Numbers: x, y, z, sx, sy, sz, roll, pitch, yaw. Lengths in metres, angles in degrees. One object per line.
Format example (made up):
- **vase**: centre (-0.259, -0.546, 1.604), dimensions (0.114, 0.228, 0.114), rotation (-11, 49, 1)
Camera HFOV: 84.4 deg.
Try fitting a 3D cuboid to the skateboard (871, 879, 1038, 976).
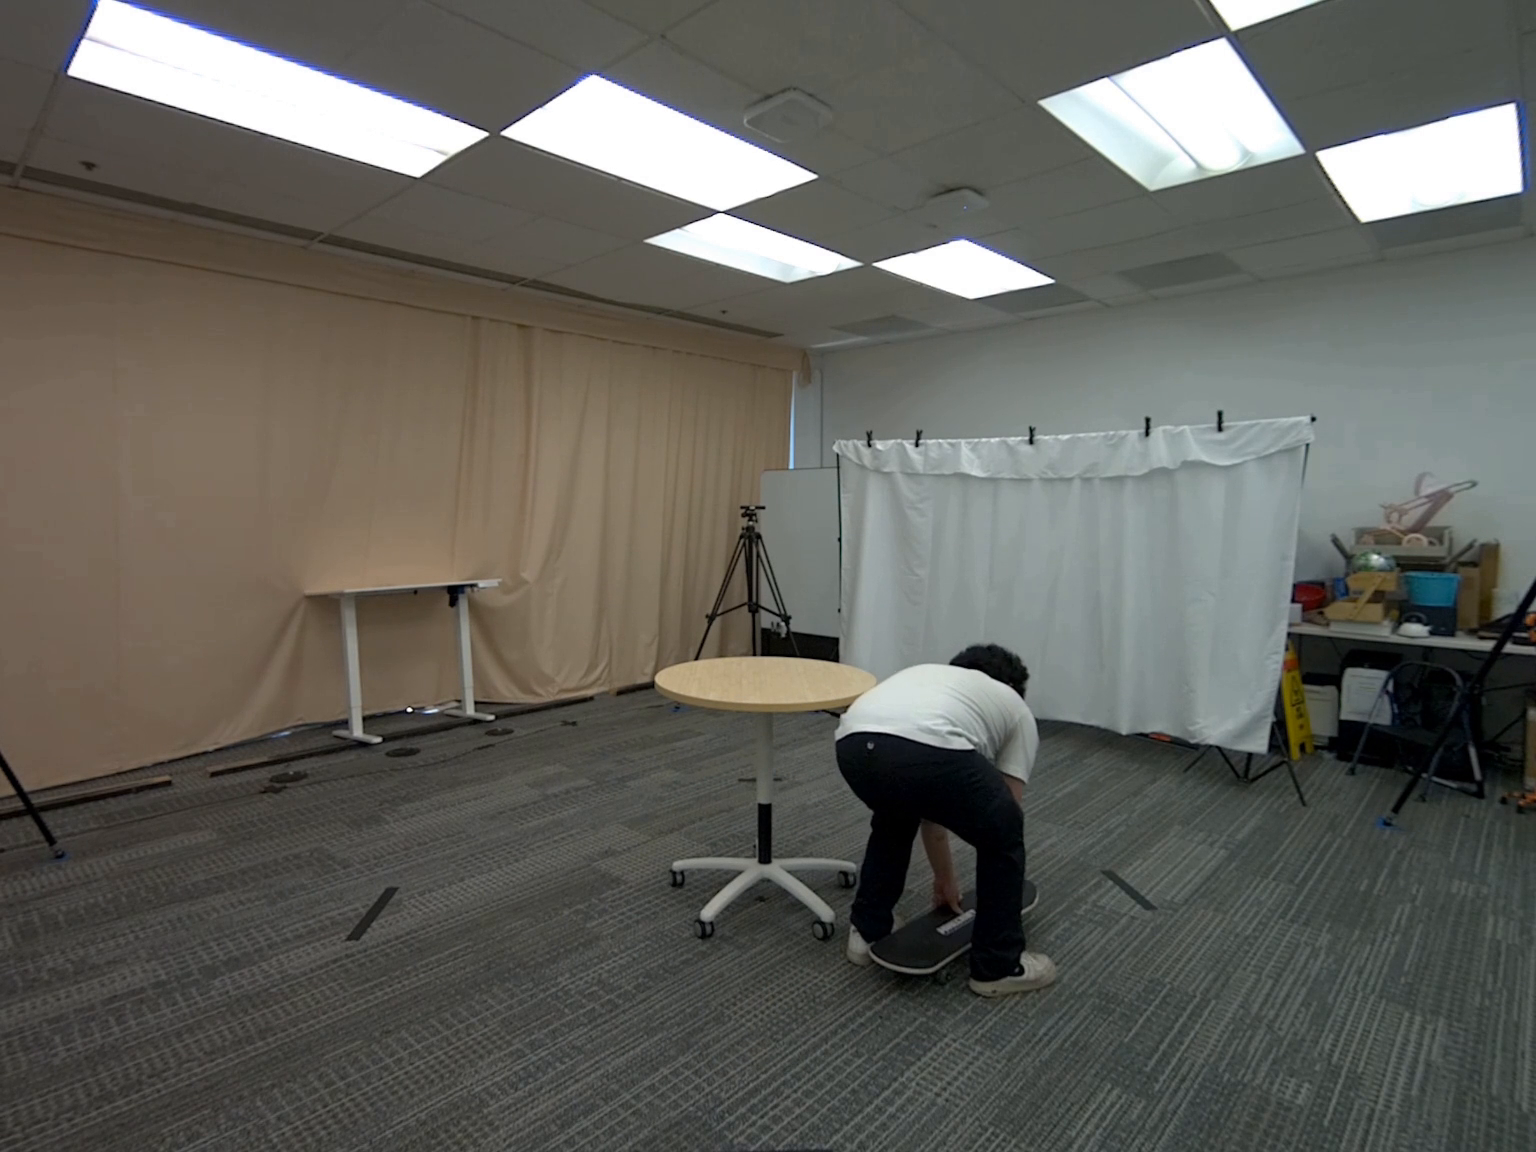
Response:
- **skateboard**: centre (0.608, 1.122, 2.642), dimensions (0.762, 0.110, 0.200), rotation (-6, 8, -42)
